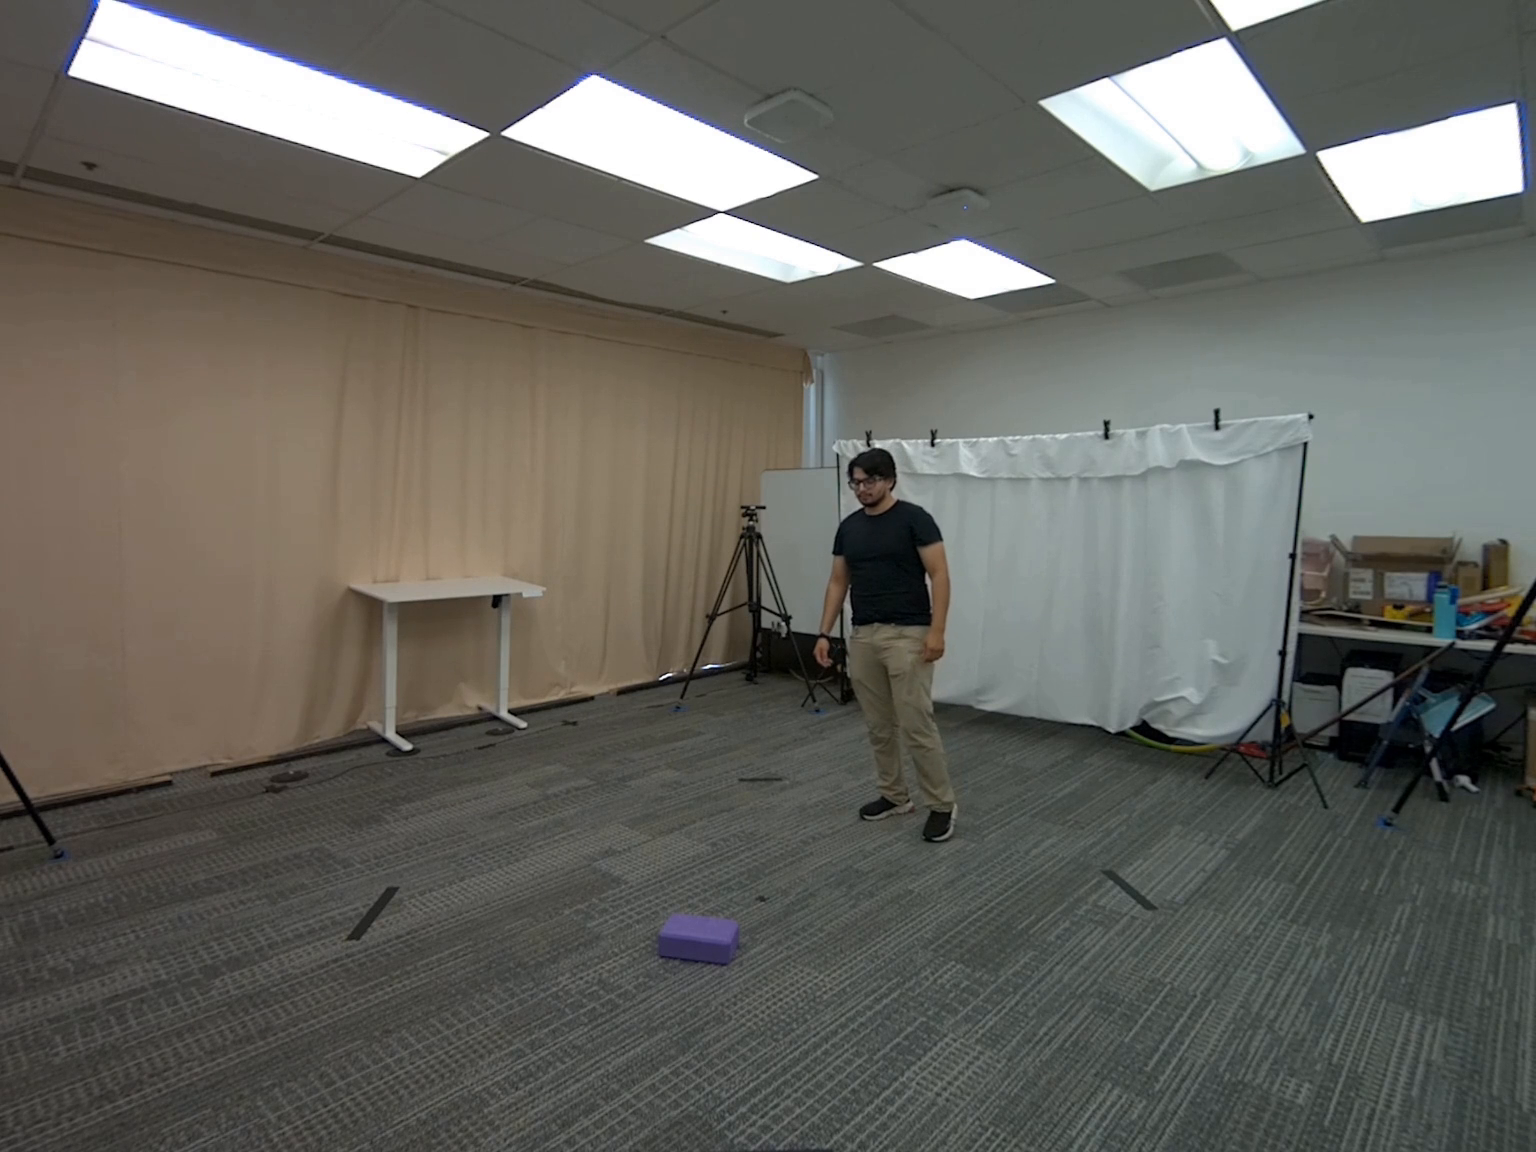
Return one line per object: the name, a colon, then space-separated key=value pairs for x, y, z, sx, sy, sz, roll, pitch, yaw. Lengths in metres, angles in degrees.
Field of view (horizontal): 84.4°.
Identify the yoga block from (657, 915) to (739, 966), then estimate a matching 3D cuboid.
yoga block: x=-0.211 y=1.133 z=2.635 sx=0.233 sy=0.076 sz=0.147 roll=0 pitch=3 yaw=13
